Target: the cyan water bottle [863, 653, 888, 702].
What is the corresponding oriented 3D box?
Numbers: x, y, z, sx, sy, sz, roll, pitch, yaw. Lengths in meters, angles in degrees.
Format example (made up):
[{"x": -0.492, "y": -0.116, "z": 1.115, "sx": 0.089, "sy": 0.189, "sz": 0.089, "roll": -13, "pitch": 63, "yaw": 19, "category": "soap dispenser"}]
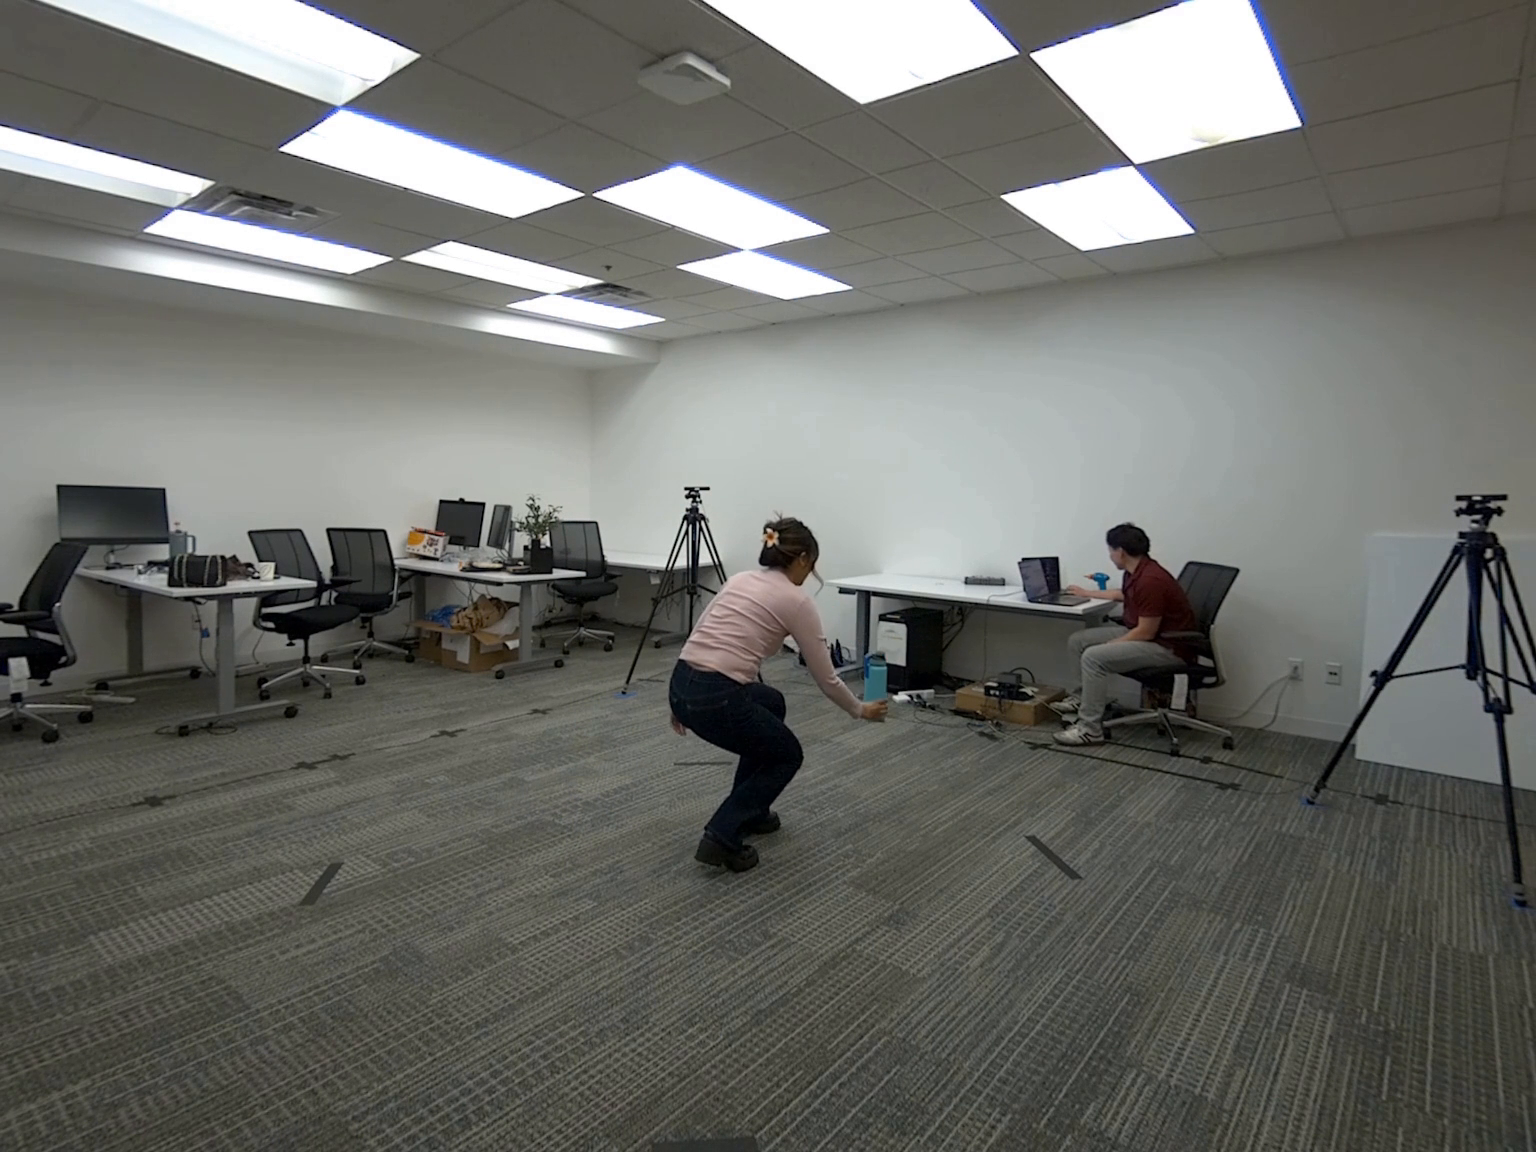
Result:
[{"x": 0.425, "y": 0.445, "z": 3.460, "sx": 0.092, "sy": 0.283, "sz": 0.092, "roll": 2, "pitch": 2, "yaw": -2, "category": "cyan water bottle"}]
